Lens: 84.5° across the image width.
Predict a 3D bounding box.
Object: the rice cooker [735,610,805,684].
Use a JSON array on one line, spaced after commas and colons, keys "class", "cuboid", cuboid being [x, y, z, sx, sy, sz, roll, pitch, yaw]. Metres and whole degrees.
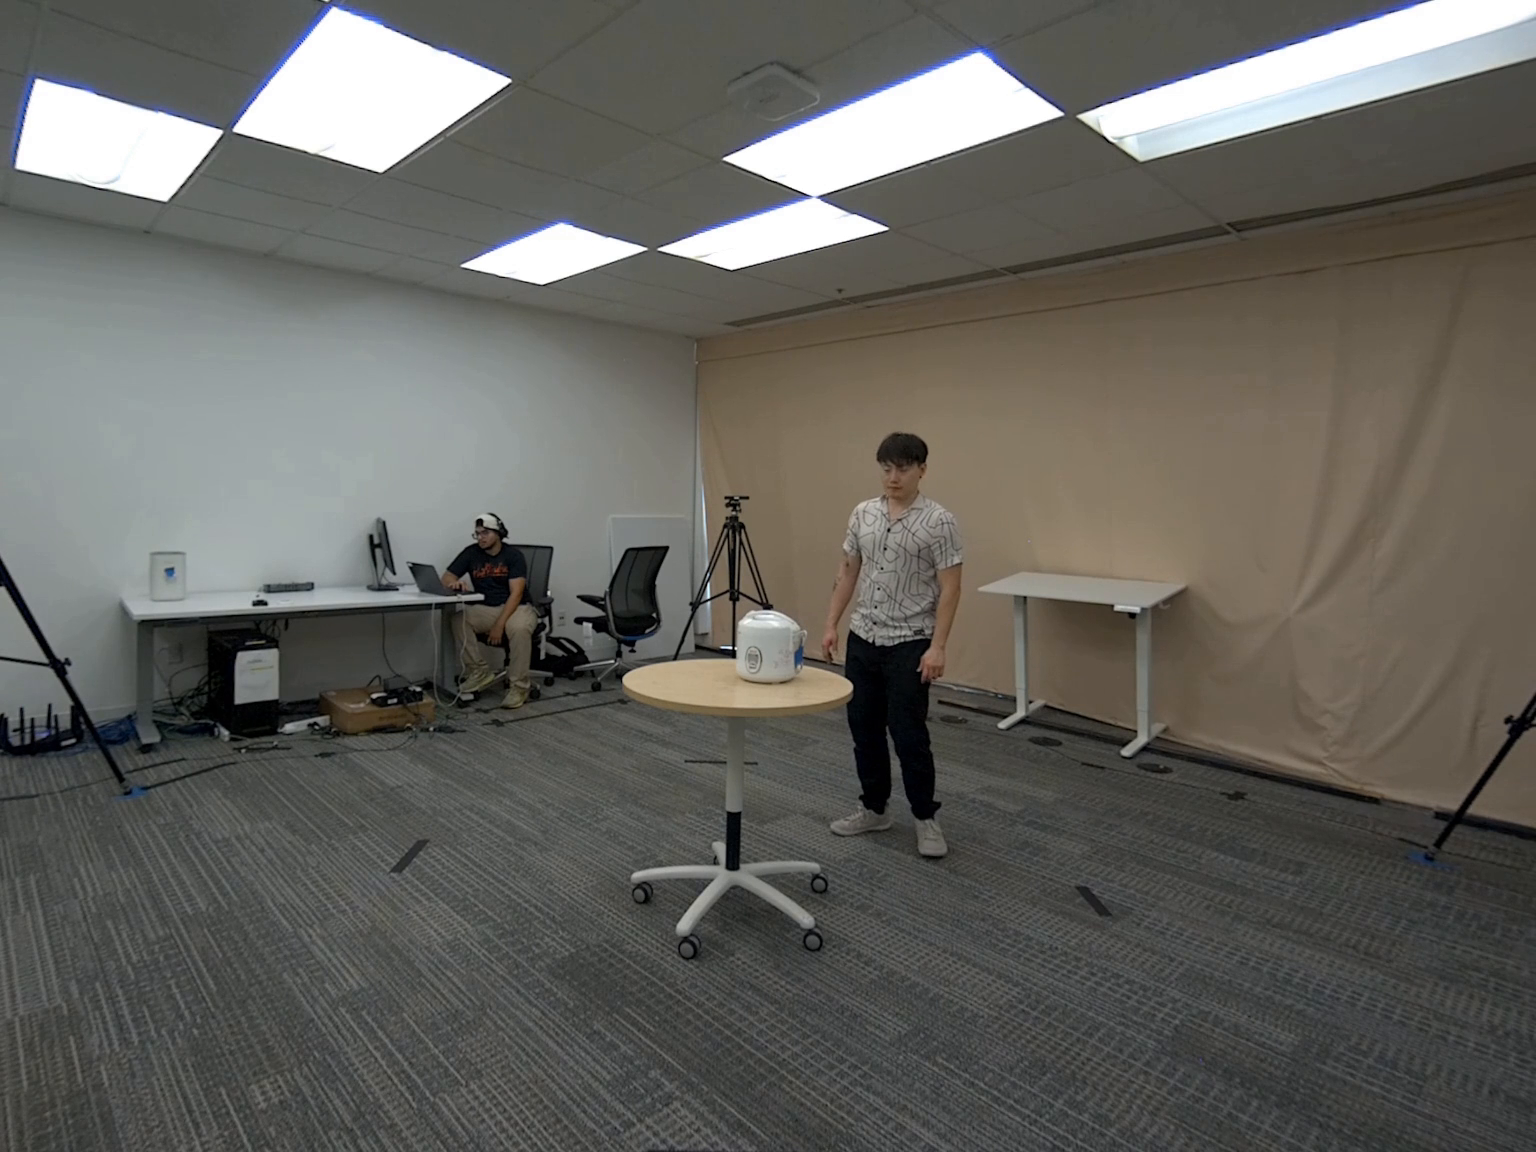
[{"class": "rice cooker", "cuboid": [-0.008, 0.234, 2.839, 0.225, 0.232, 0.213, 4, 3, 26]}]
